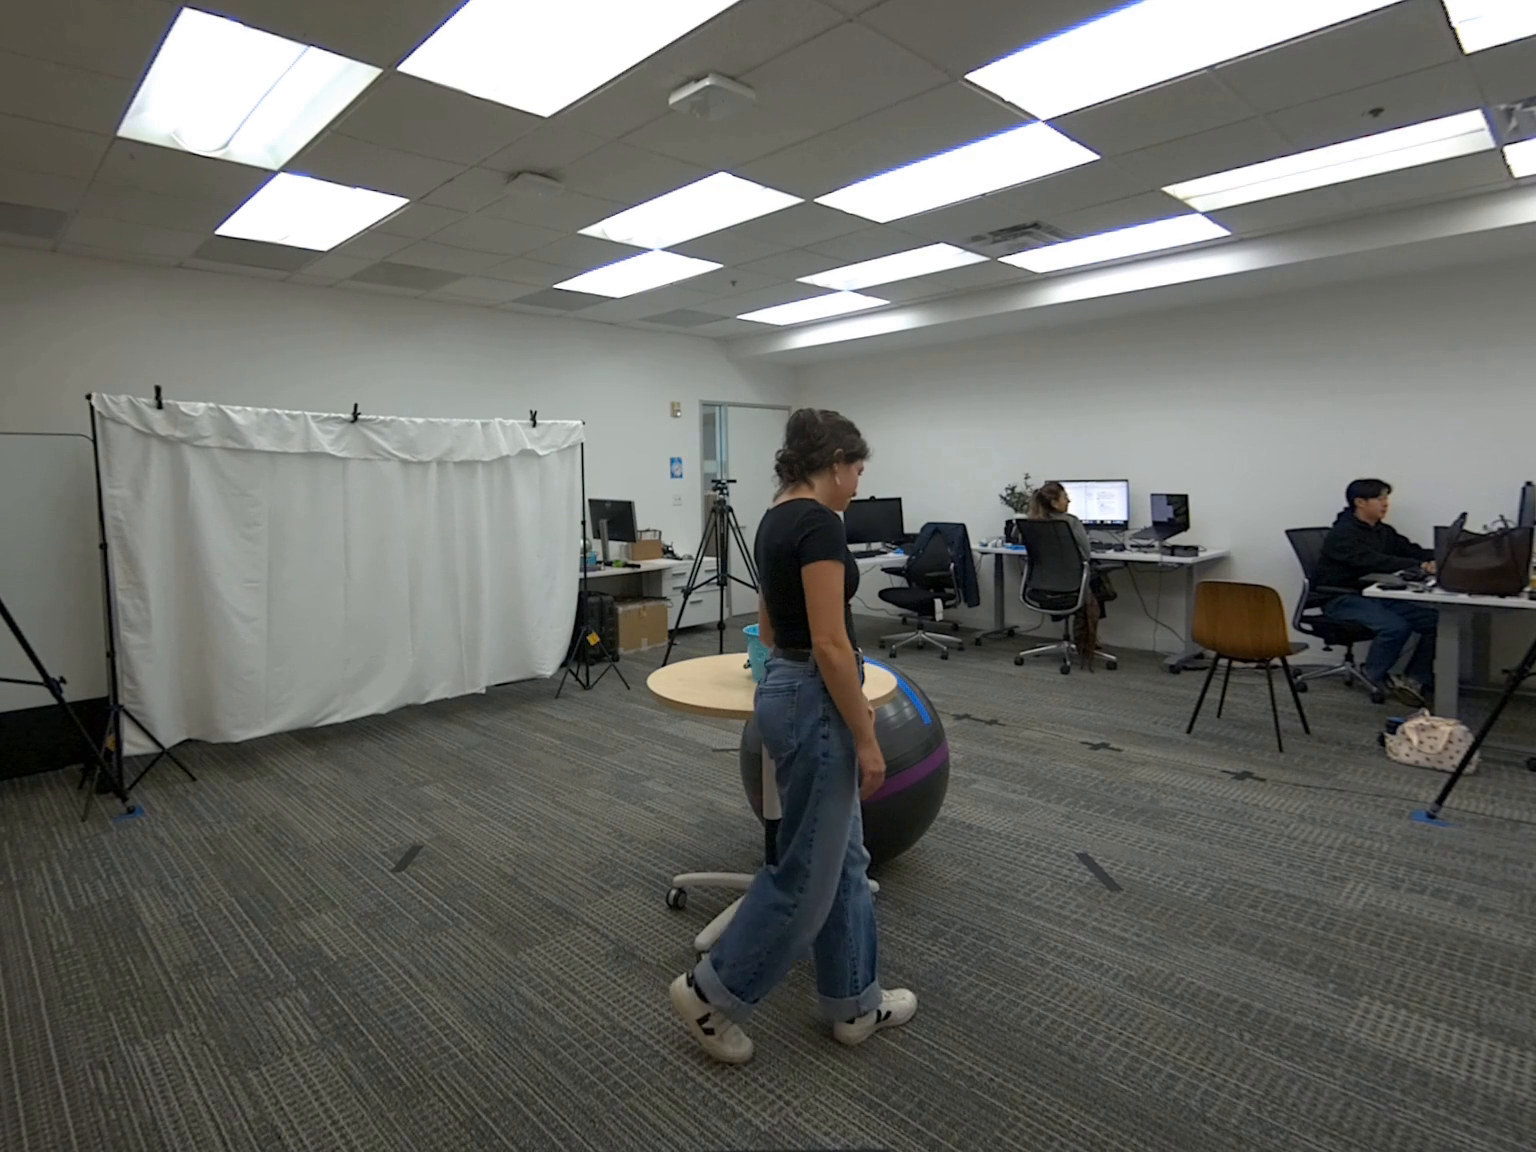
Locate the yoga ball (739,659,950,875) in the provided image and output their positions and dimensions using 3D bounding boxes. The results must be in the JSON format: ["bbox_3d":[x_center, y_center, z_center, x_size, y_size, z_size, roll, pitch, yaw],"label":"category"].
[{"bbox_3d":[0.276,0.674,3.132,0.757,0.755,0.762,-1,5,-2],"label":"yoga ball"}]
